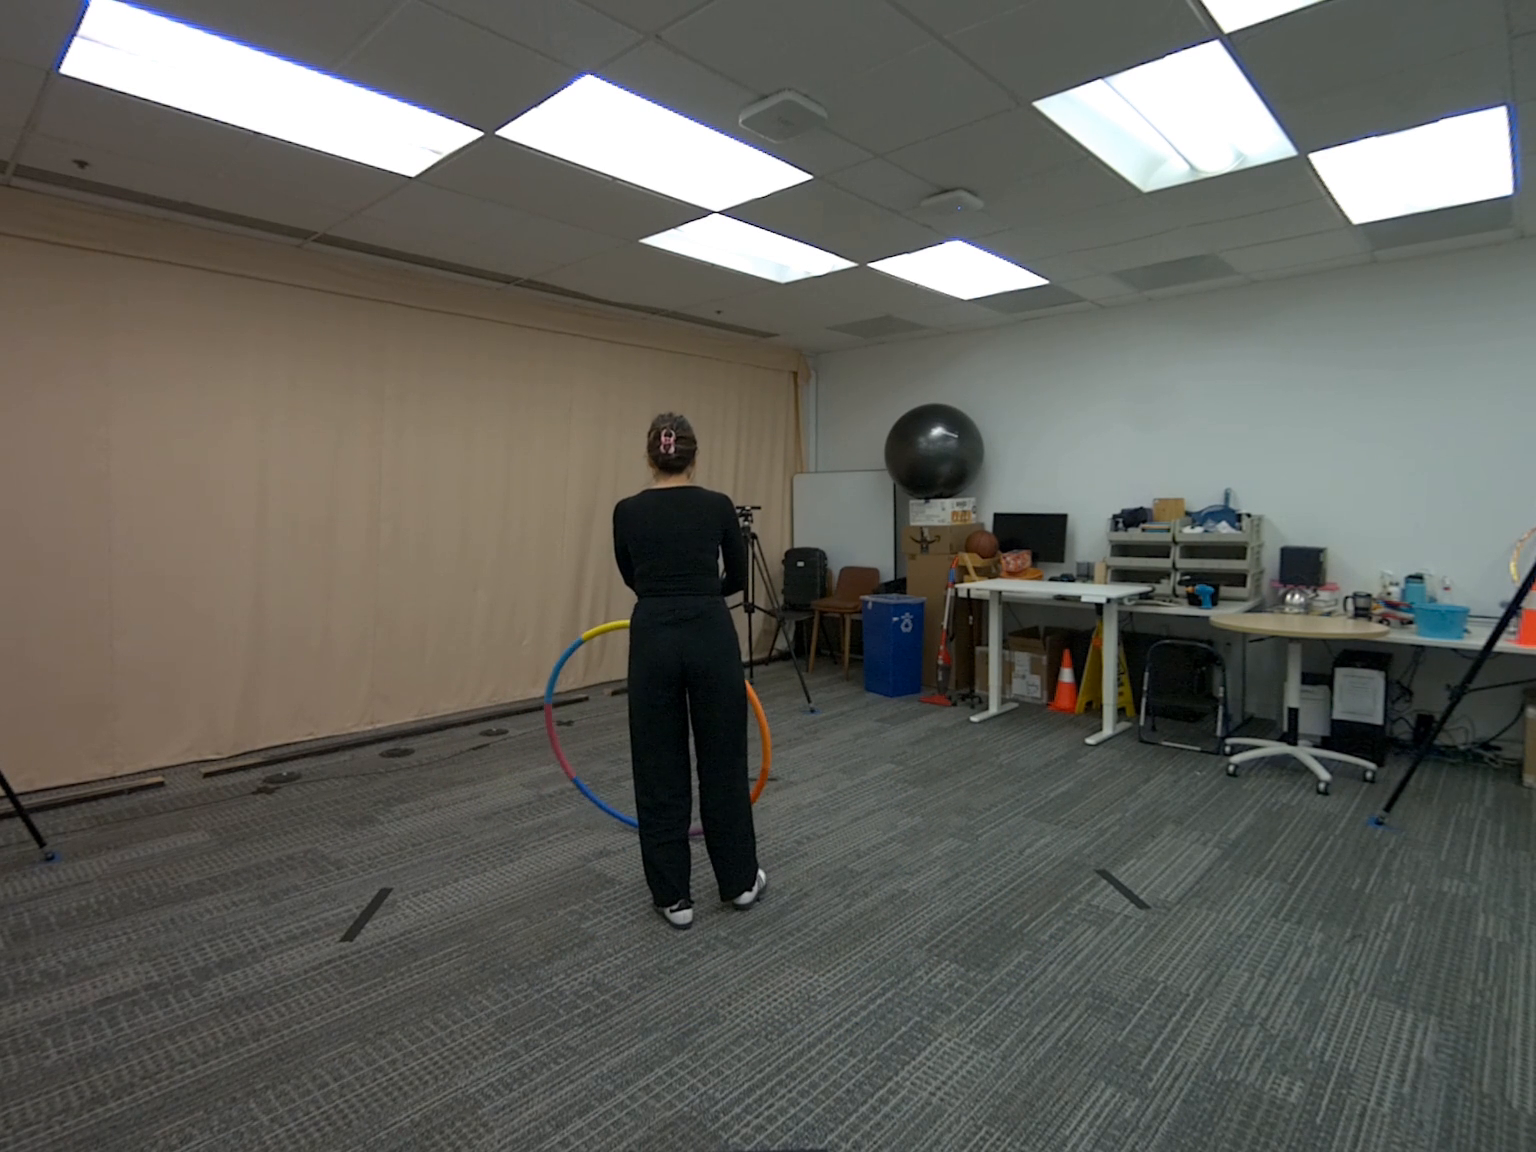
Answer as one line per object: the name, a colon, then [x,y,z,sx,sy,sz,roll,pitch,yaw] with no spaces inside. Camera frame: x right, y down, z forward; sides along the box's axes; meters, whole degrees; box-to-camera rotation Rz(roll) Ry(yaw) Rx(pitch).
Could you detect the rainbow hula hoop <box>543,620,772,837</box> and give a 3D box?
rainbow hula hoop: [-0.465,0.636,3.447,0.998,0.967,0.035,2,18,18]
